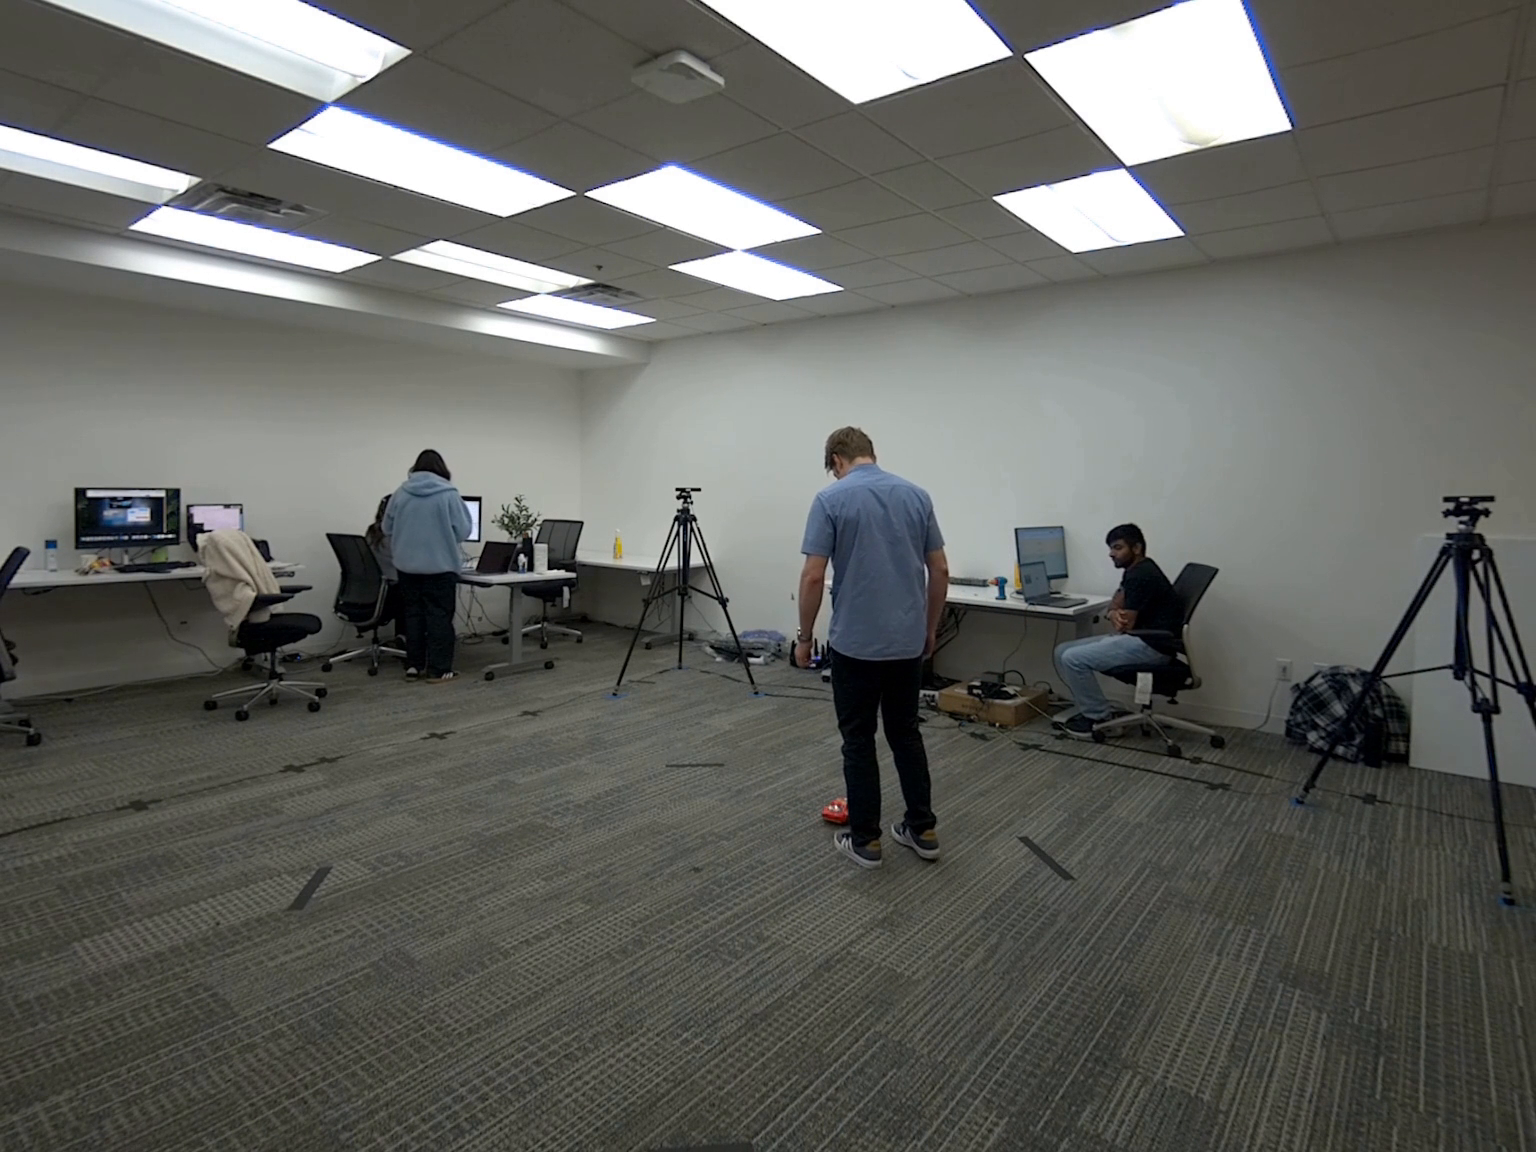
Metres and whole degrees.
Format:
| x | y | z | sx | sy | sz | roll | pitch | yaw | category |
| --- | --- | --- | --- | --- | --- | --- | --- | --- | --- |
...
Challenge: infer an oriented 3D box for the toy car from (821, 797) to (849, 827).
| x | y | z | sx | sy | sz | roll | pitch | yaw | category |
| --- | --- | --- | --- | --- | --- | --- | --- | --- | --- |
| 0.305 | 1.000 | 3.628 | 0.134 | 0.083 | 0.246 | 4 | -5 | 28 | toy car |
